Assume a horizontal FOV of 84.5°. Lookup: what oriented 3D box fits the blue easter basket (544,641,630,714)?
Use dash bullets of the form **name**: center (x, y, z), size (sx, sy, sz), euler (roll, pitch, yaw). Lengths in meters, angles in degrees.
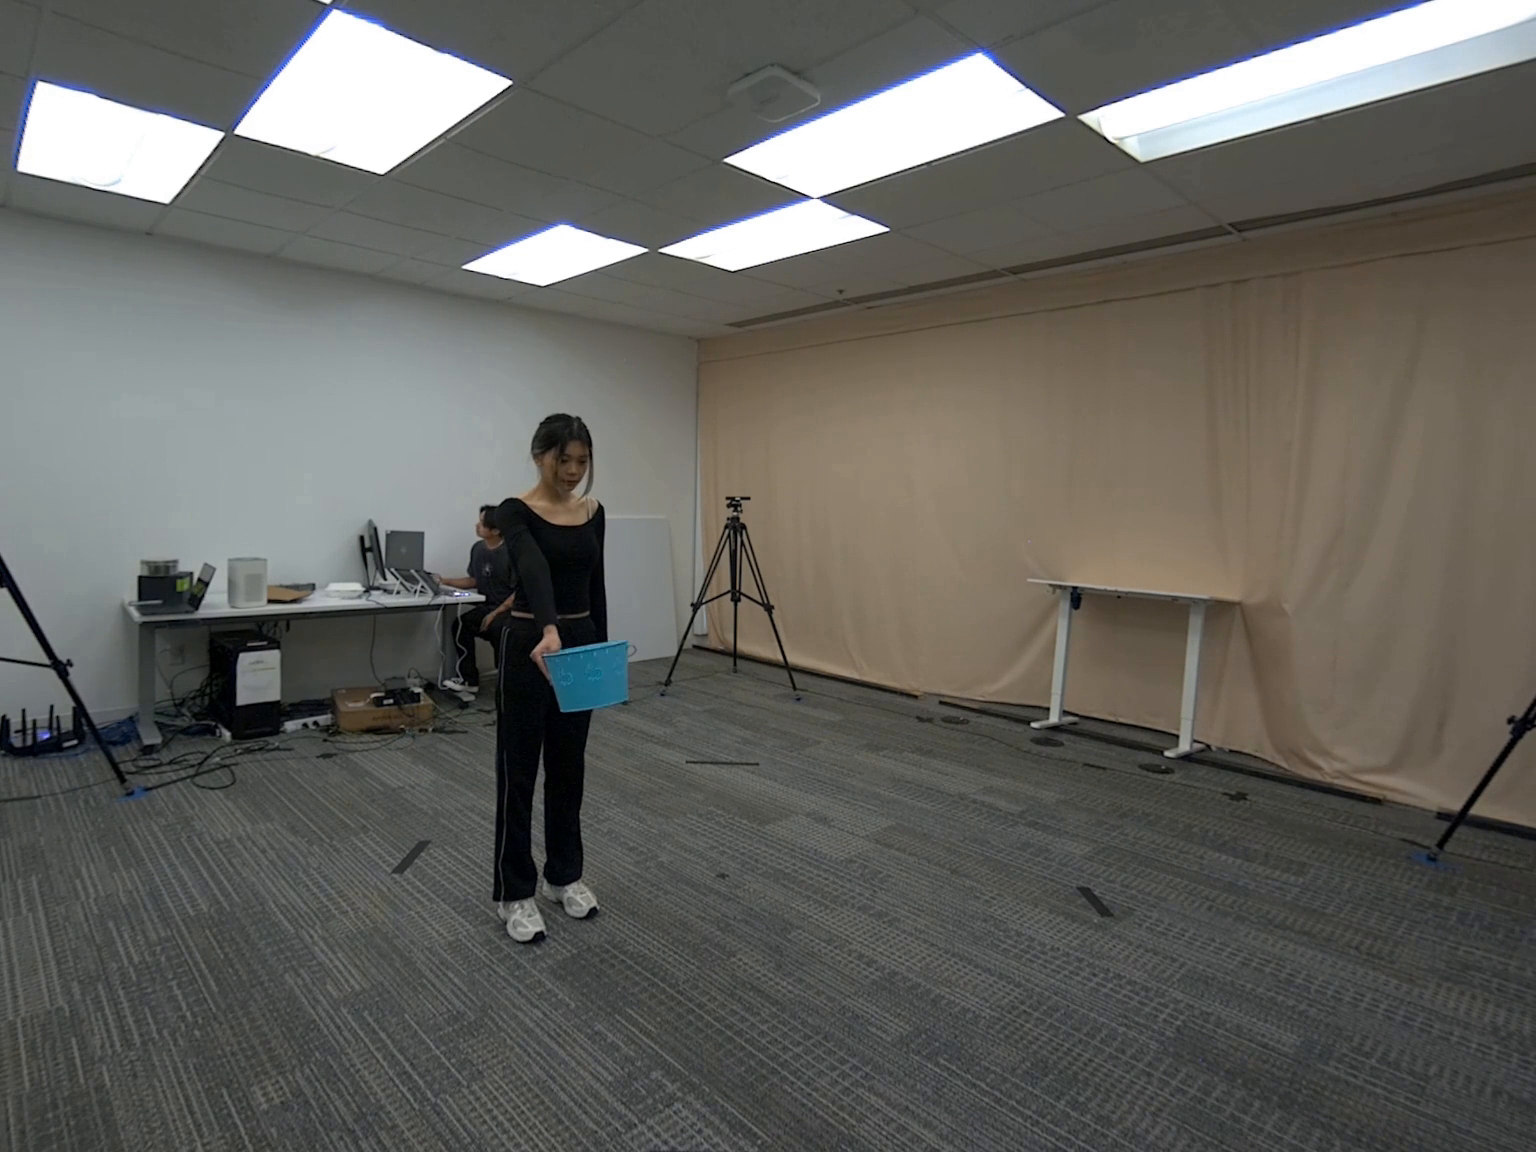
- **blue easter basket**: center (-0.484, 0.274, 2.193), size (0.243, 0.156, 0.243), euler (-8, -2, -2)
